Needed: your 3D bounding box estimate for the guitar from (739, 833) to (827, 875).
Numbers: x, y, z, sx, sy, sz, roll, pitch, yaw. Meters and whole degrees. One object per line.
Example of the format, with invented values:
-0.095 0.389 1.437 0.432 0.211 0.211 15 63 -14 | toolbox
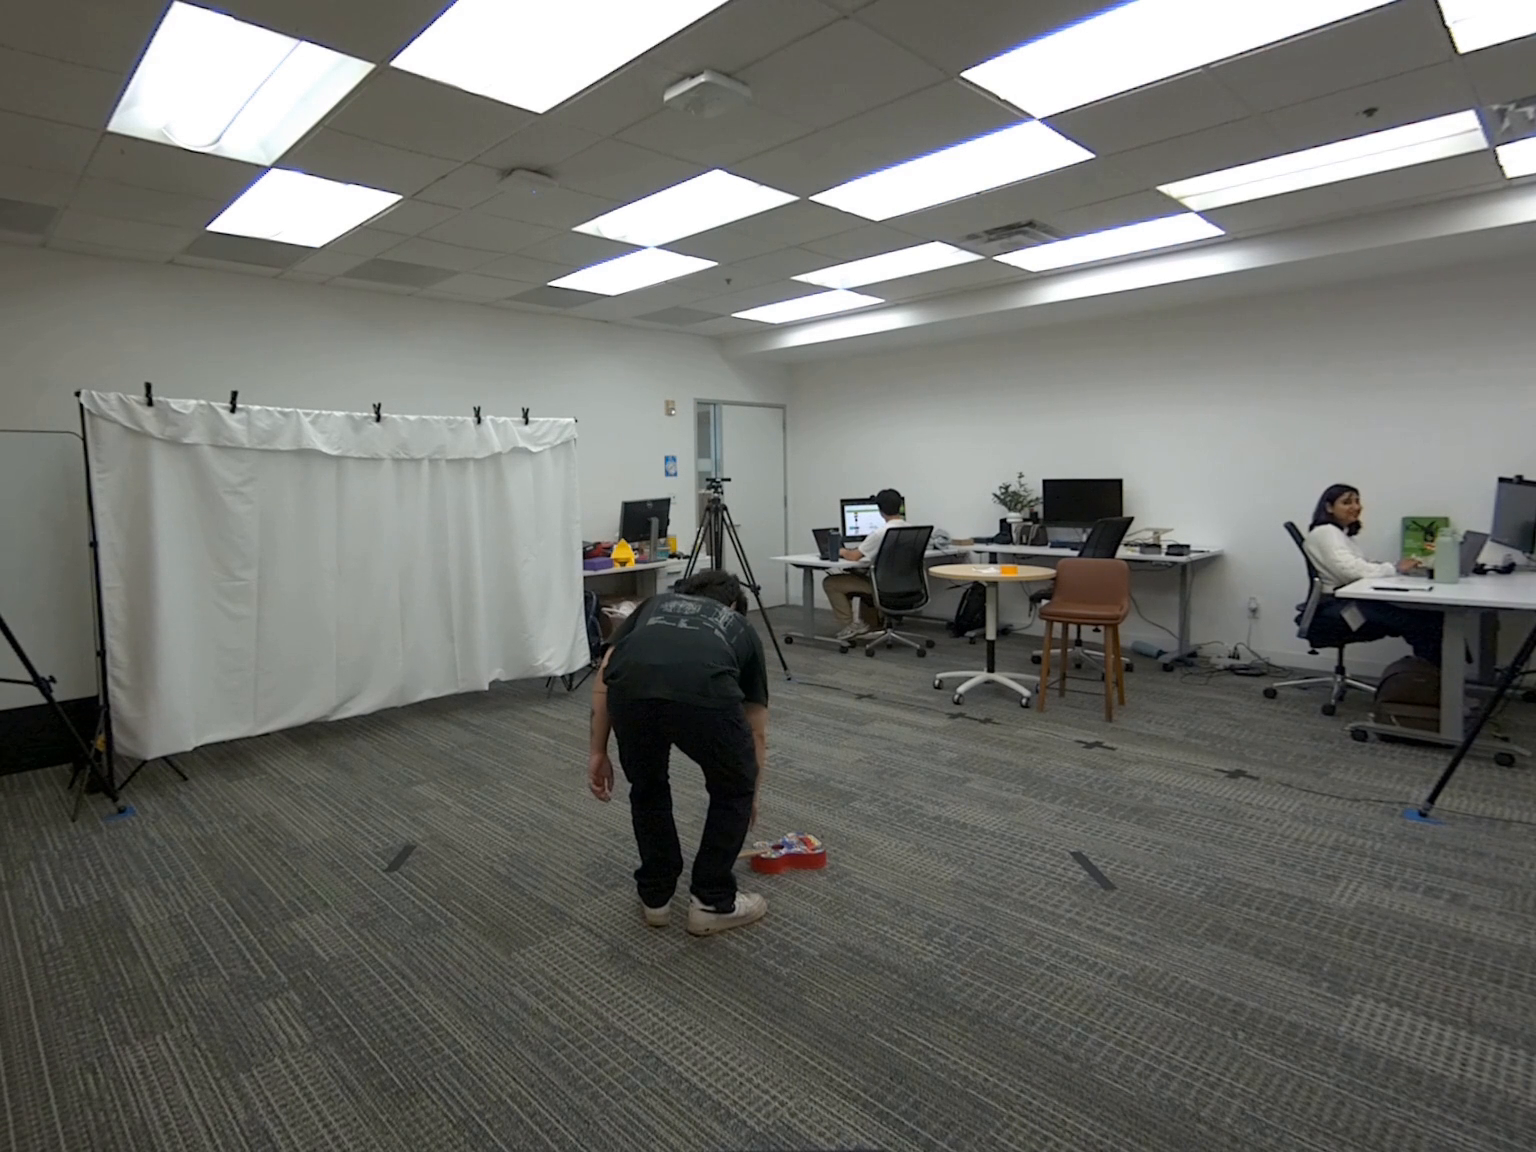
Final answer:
-0.038 1.007 3.097 0.492 0.070 0.196 -2 6 -13 | guitar
